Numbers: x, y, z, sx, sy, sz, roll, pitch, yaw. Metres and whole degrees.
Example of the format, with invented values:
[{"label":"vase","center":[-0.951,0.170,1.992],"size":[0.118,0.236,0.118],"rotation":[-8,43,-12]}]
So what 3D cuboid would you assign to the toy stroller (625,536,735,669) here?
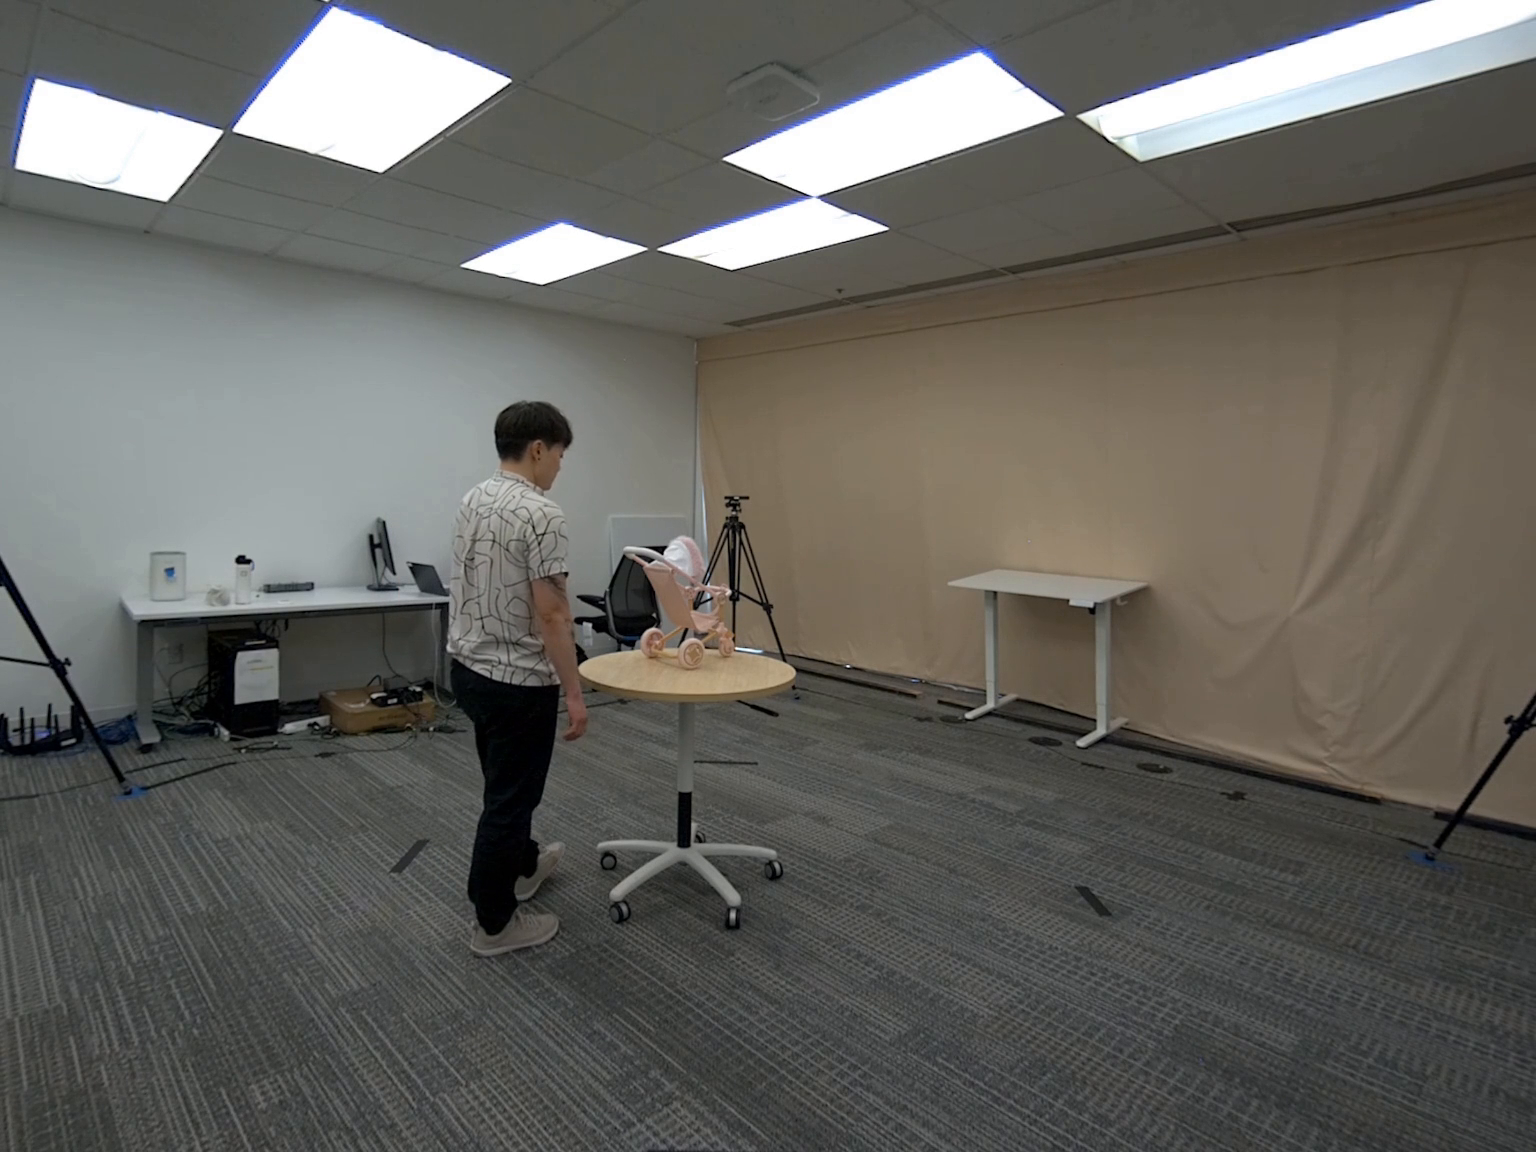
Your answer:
[{"label":"toy stroller","center":[-0.303,0.095,3.083],"size":[0.337,0.529,0.288],"rotation":[-21,16,-33]}]
